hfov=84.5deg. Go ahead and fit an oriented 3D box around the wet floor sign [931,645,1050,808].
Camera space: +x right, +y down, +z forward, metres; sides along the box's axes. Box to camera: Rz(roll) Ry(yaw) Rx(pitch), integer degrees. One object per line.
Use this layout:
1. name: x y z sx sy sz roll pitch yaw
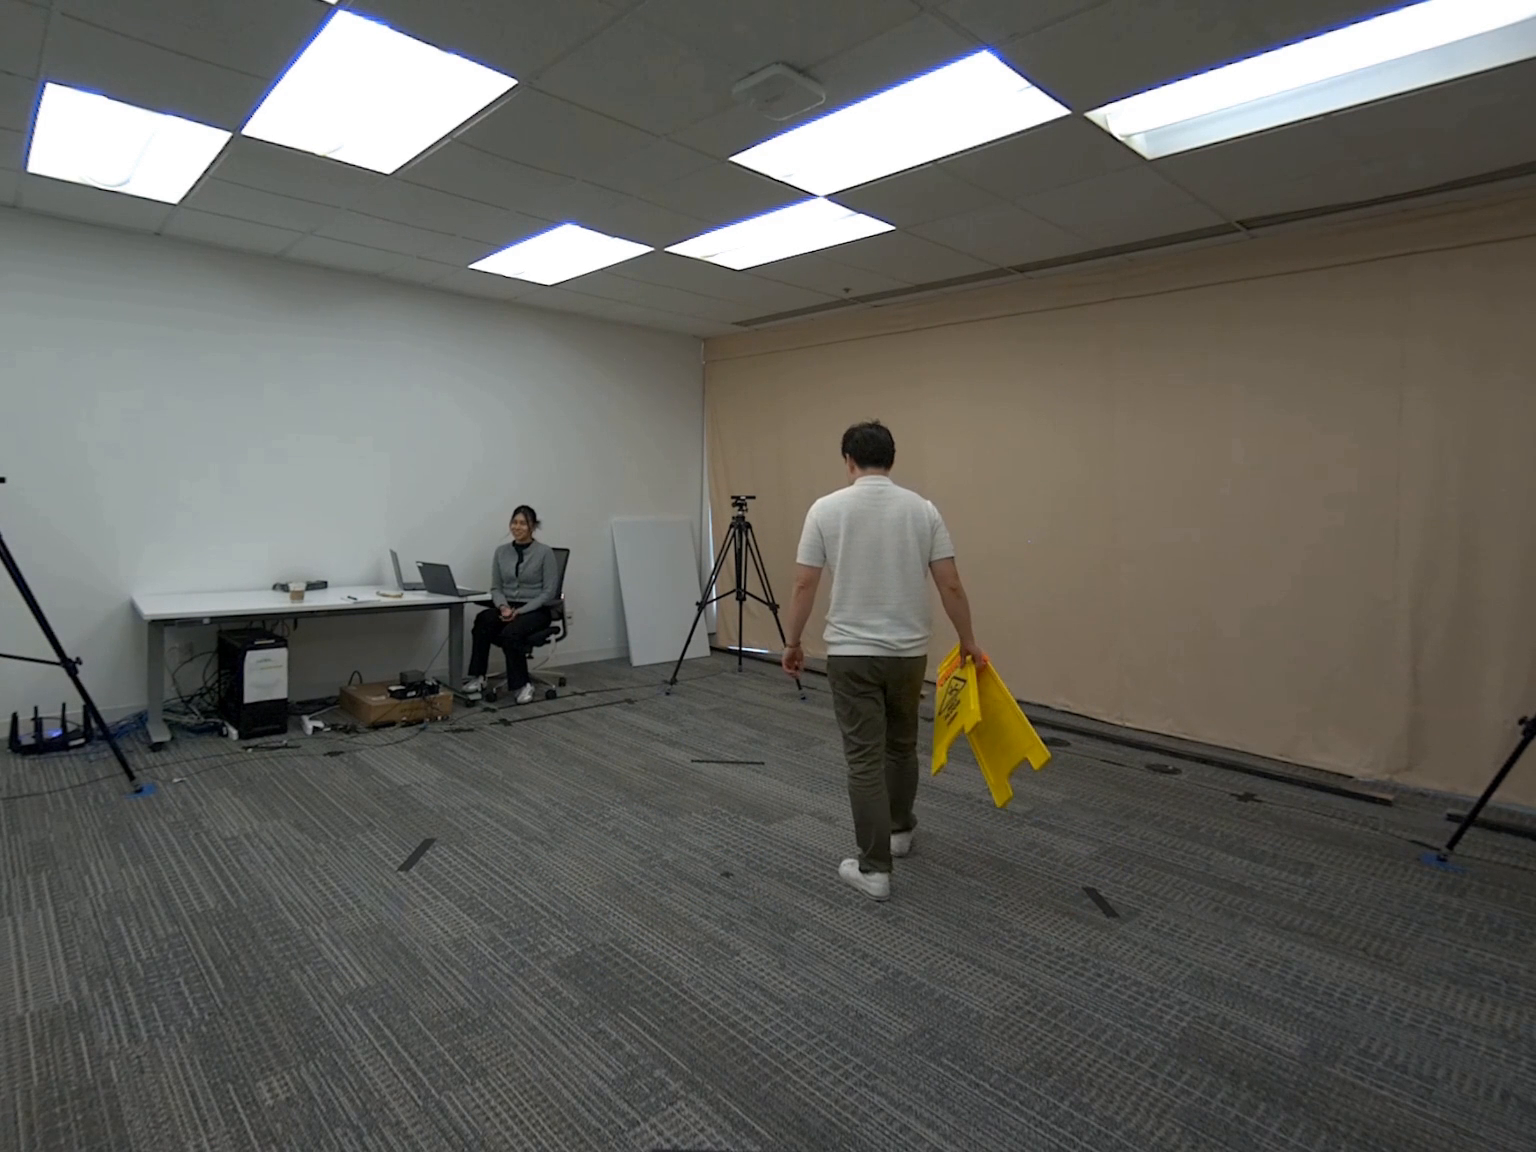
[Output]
1. wet floor sign: 0.736 0.470 3.081 0.286 0.281 0.657 26 27 -13
